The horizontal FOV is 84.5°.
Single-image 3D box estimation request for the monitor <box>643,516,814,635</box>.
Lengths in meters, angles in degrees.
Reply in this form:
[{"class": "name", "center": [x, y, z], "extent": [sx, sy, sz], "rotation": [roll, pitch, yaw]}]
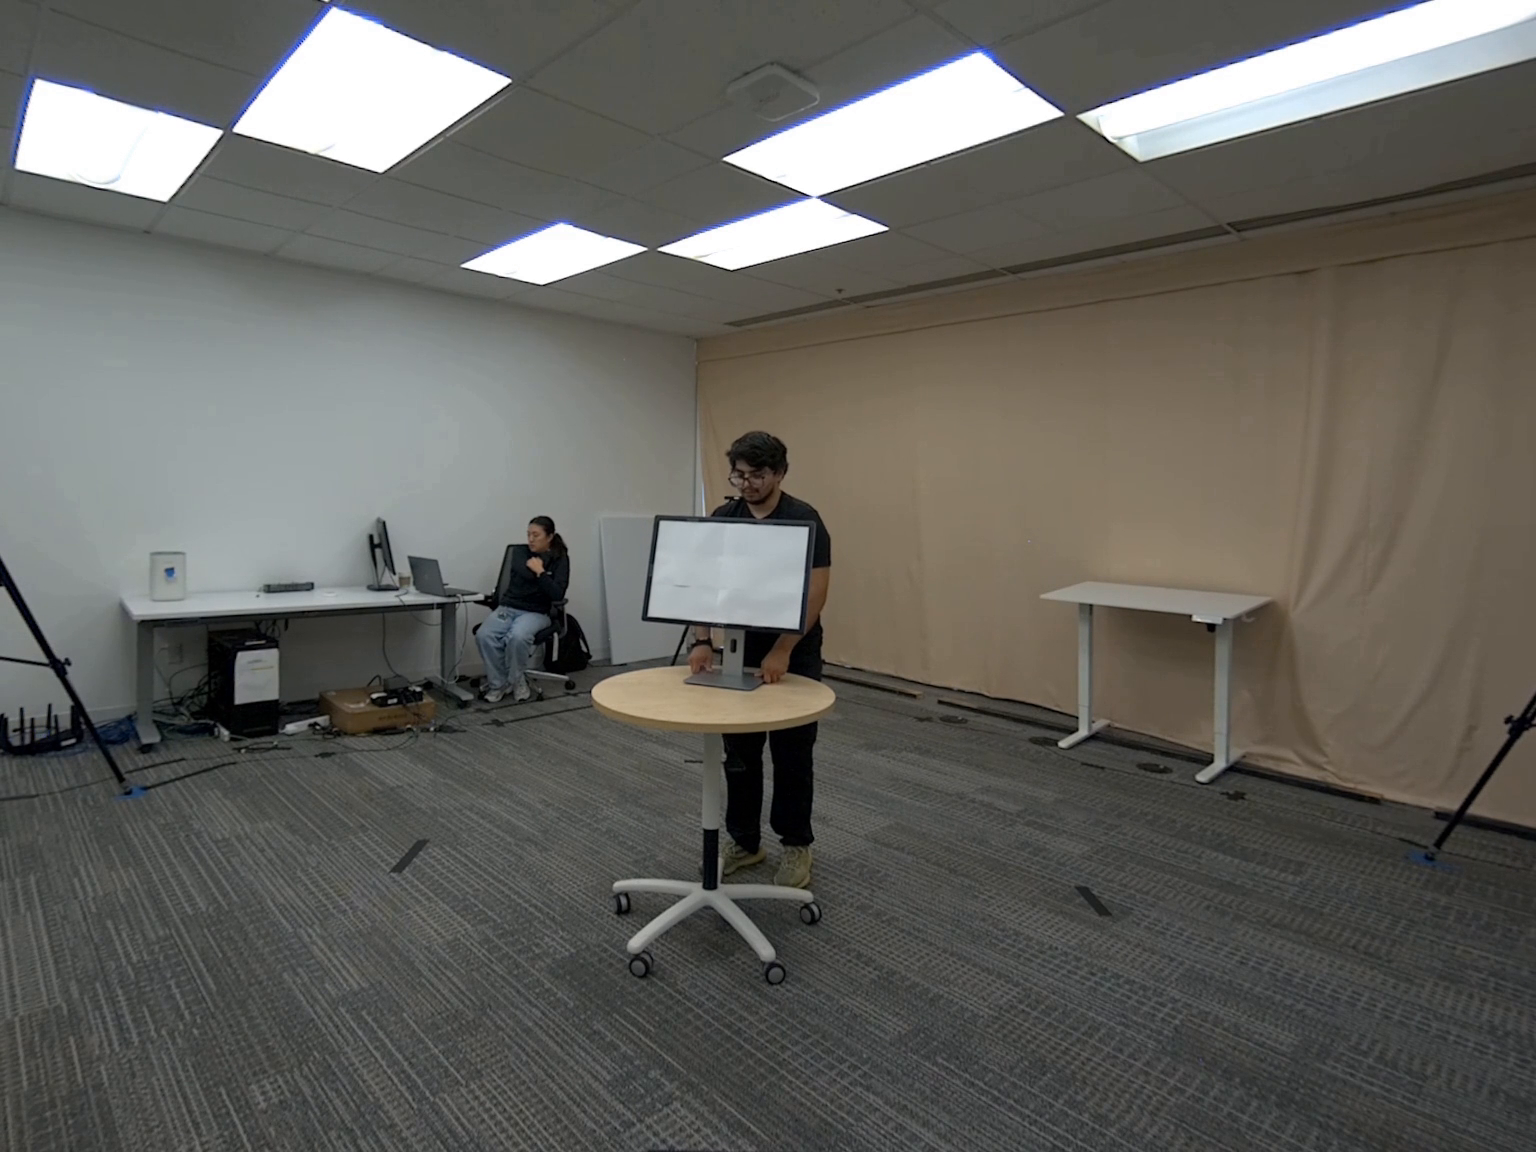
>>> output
[{"class": "monitor", "center": [-0.125, 0.085, 2.805], "extent": [0.574, 0.555, 0.206], "rotation": [3, -3, 20]}]
